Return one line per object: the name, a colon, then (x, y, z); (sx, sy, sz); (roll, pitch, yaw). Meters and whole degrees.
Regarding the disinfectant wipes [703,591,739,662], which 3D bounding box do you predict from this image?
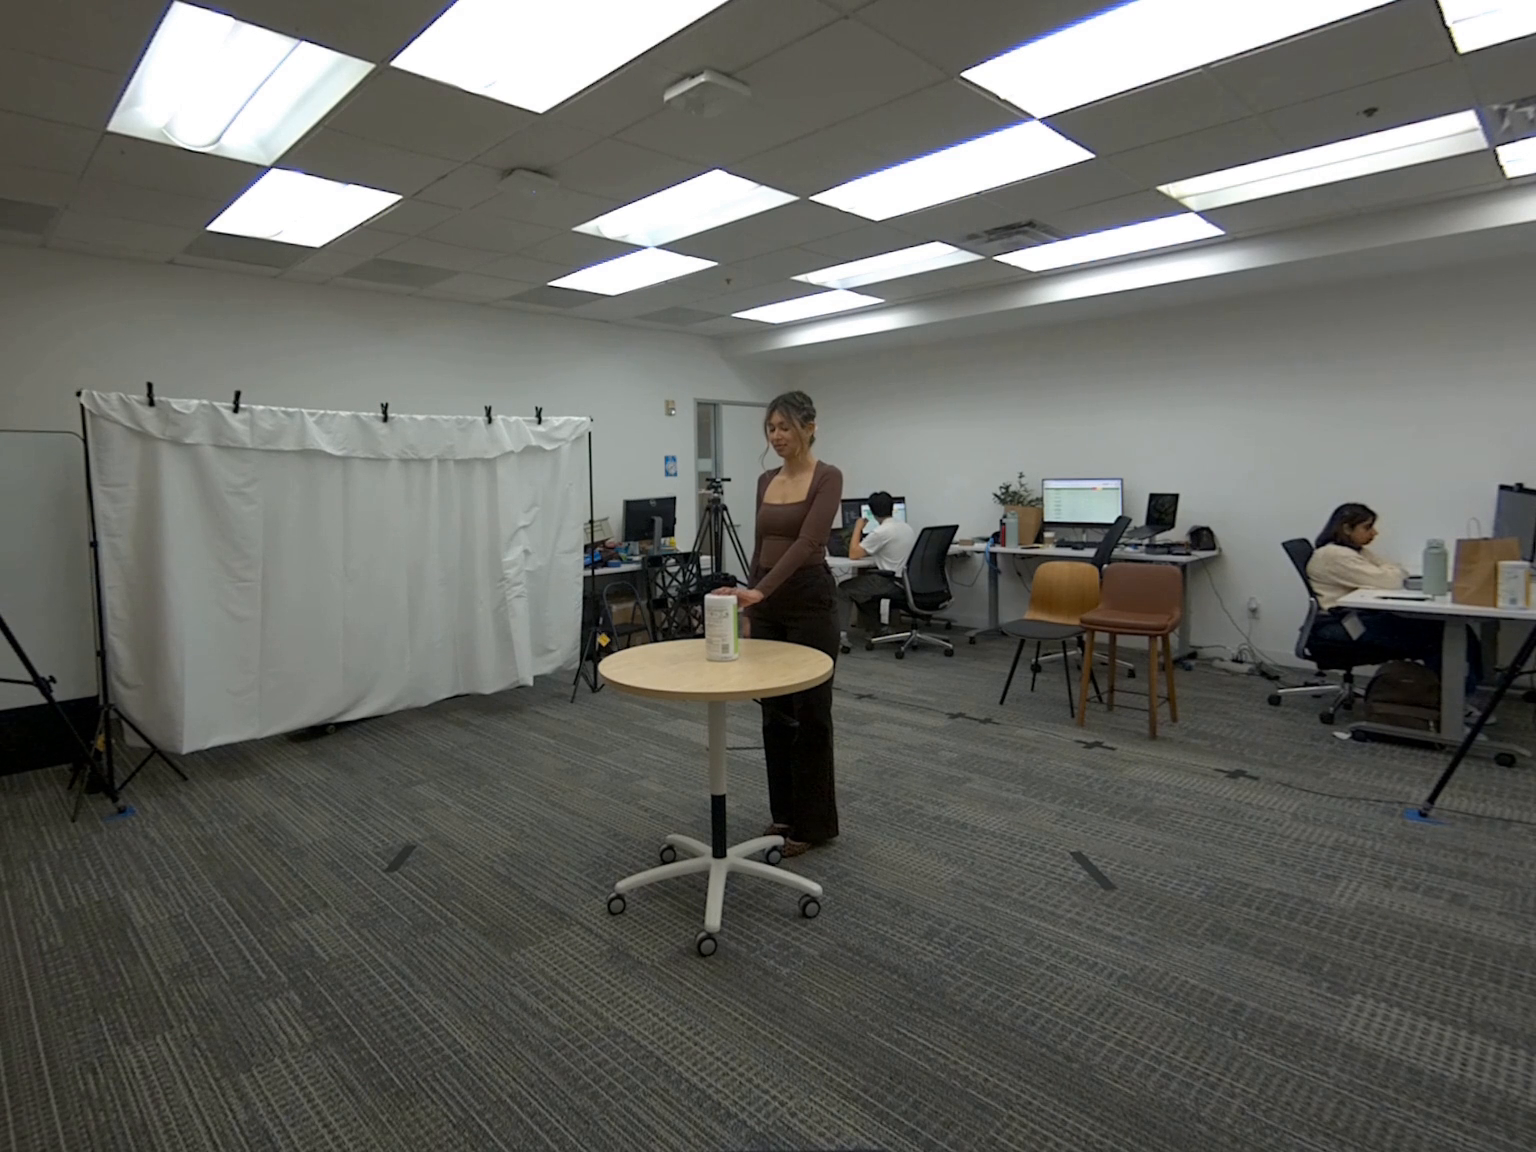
disinfectant wipes: (-0.149, 0.171, 2.842); (0.118, 0.217, 0.118); (1, 4, -2)
